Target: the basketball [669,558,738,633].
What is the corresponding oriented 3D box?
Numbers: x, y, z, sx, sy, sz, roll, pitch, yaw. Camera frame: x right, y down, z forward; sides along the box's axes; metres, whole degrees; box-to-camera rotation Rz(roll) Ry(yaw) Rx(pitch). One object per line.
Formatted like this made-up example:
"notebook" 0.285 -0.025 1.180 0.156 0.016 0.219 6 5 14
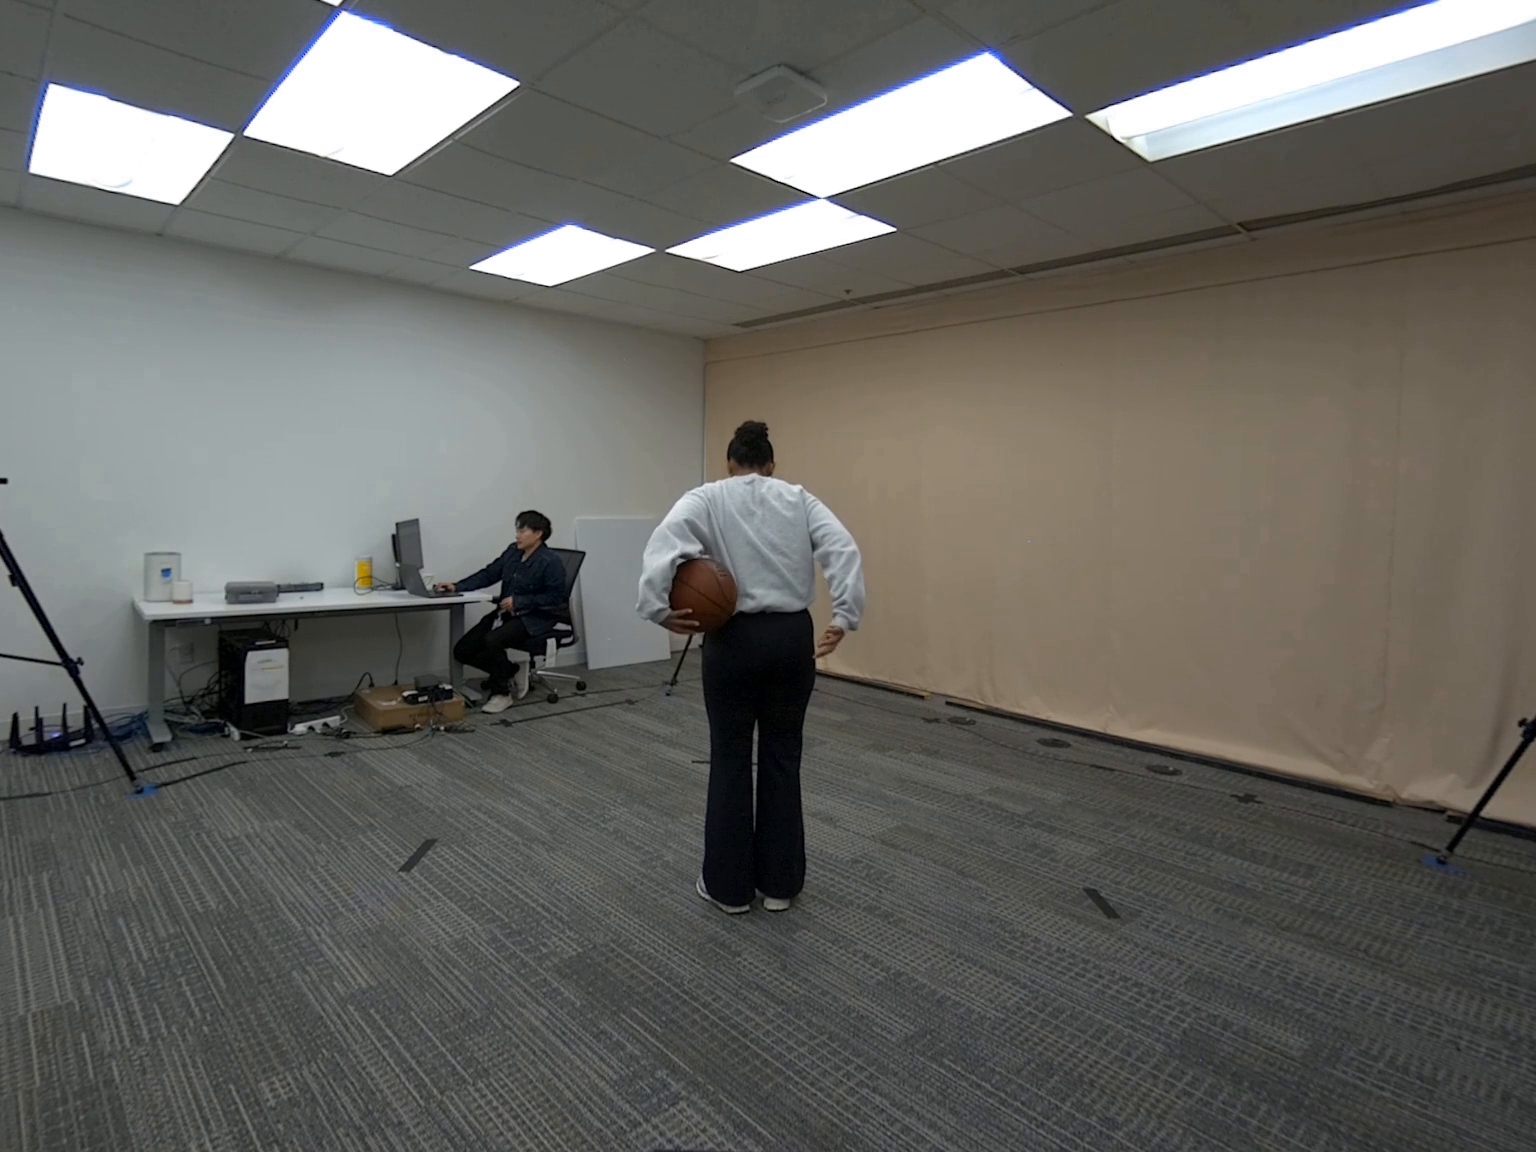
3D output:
"basketball" -0.222 0.058 2.675 0.236 0.235 0.237 1 4 -1
